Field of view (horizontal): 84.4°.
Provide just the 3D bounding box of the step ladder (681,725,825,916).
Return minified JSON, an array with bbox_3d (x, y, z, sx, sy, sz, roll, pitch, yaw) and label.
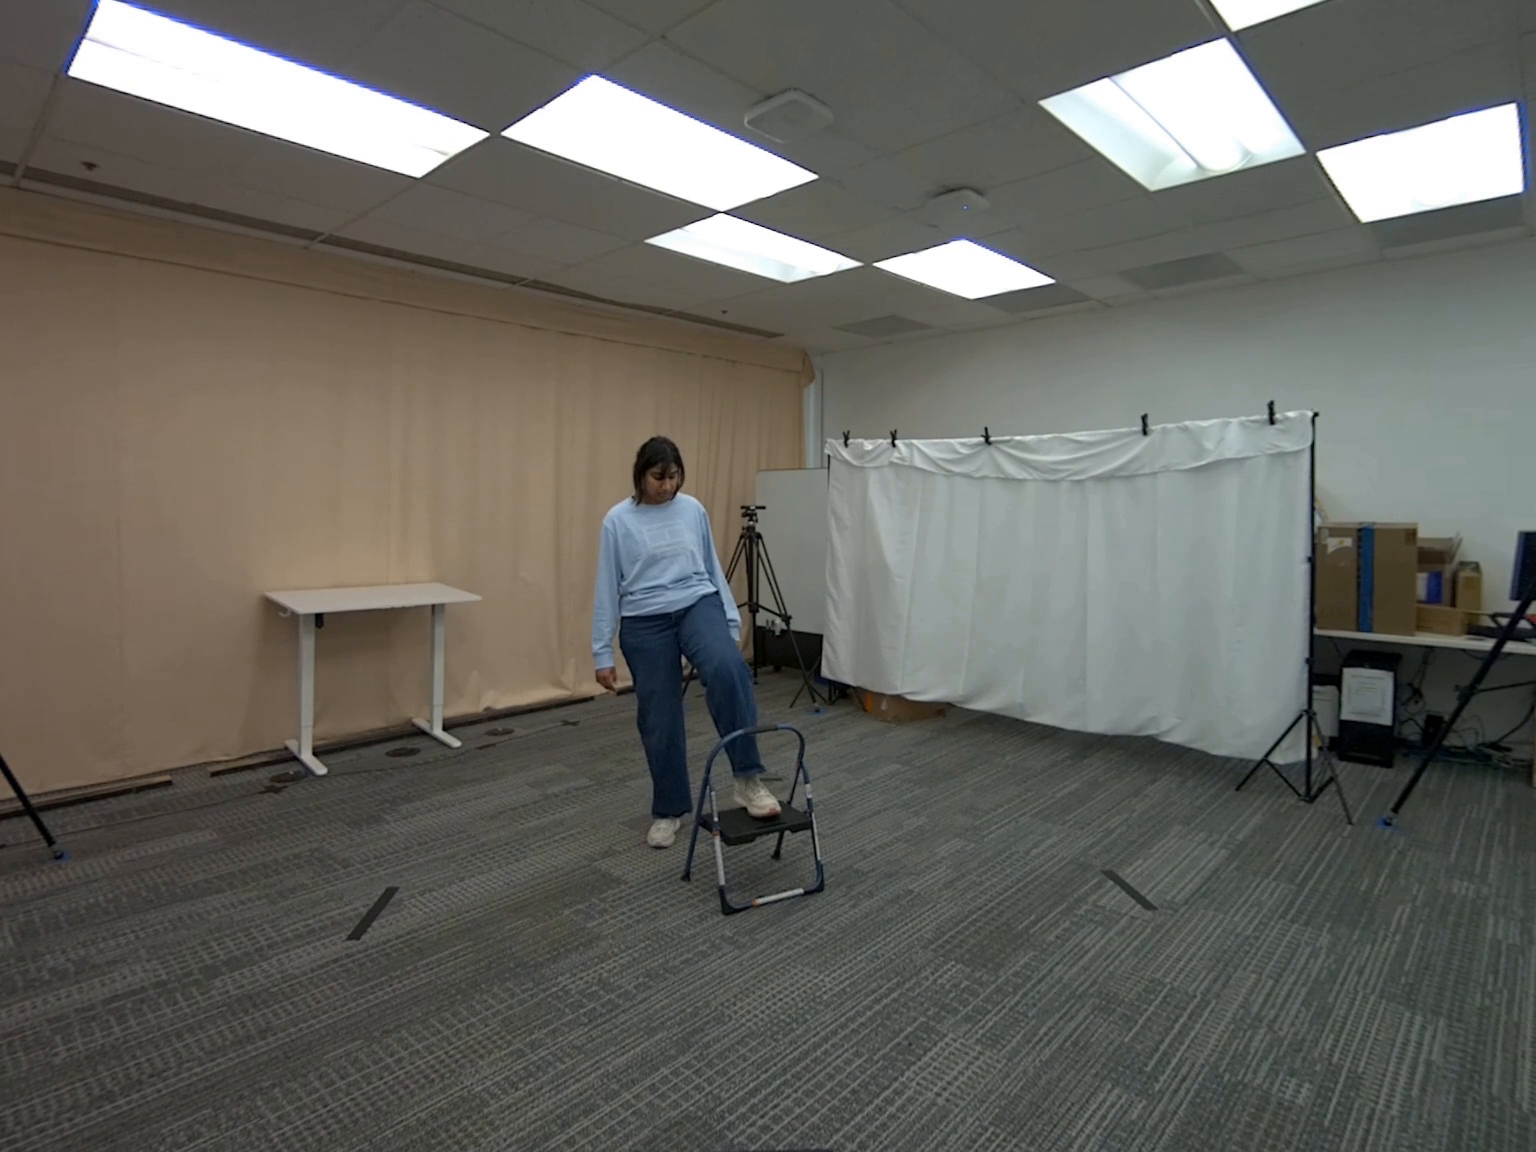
[{"bbox_3d":[-0.055,0.833,3.082,0.419,0.605,0.359,-2,4,-30],"label":"step ladder"}]
